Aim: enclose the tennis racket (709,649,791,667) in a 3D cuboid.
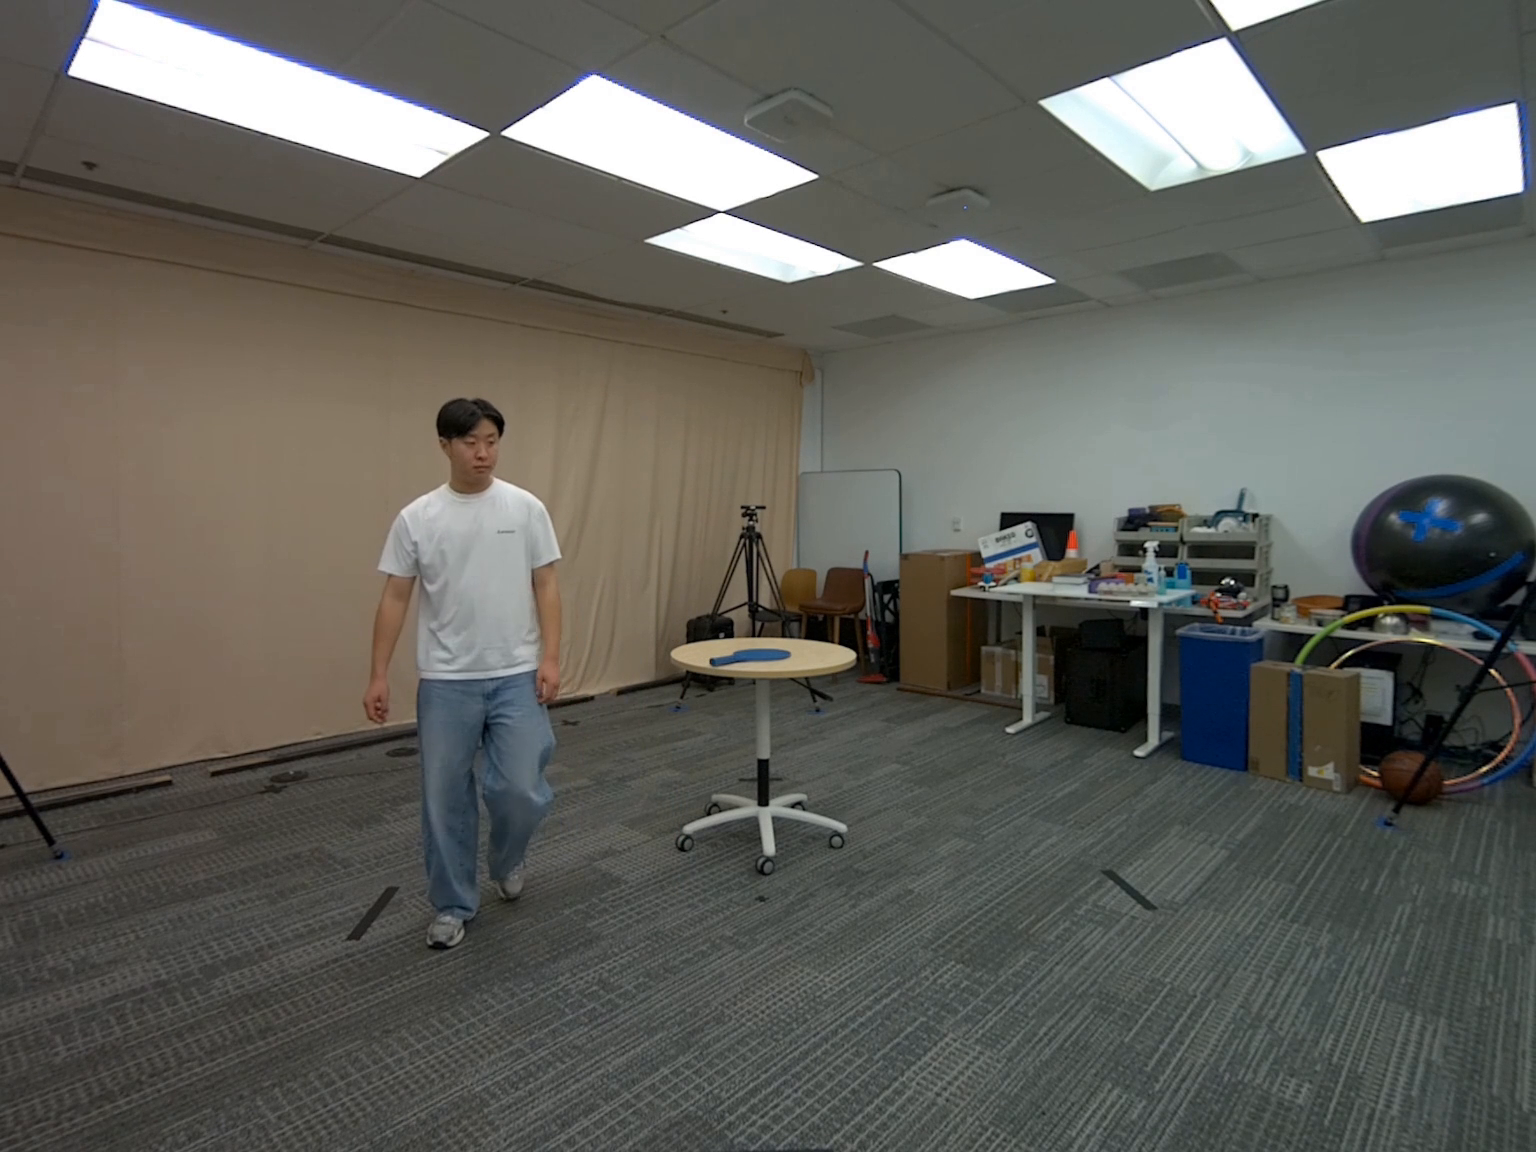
[{"bbox_3d":[-0.077,0.322,3.348,0.221,0.032,0.419,4,5,42],"label":"tennis racket"}]
